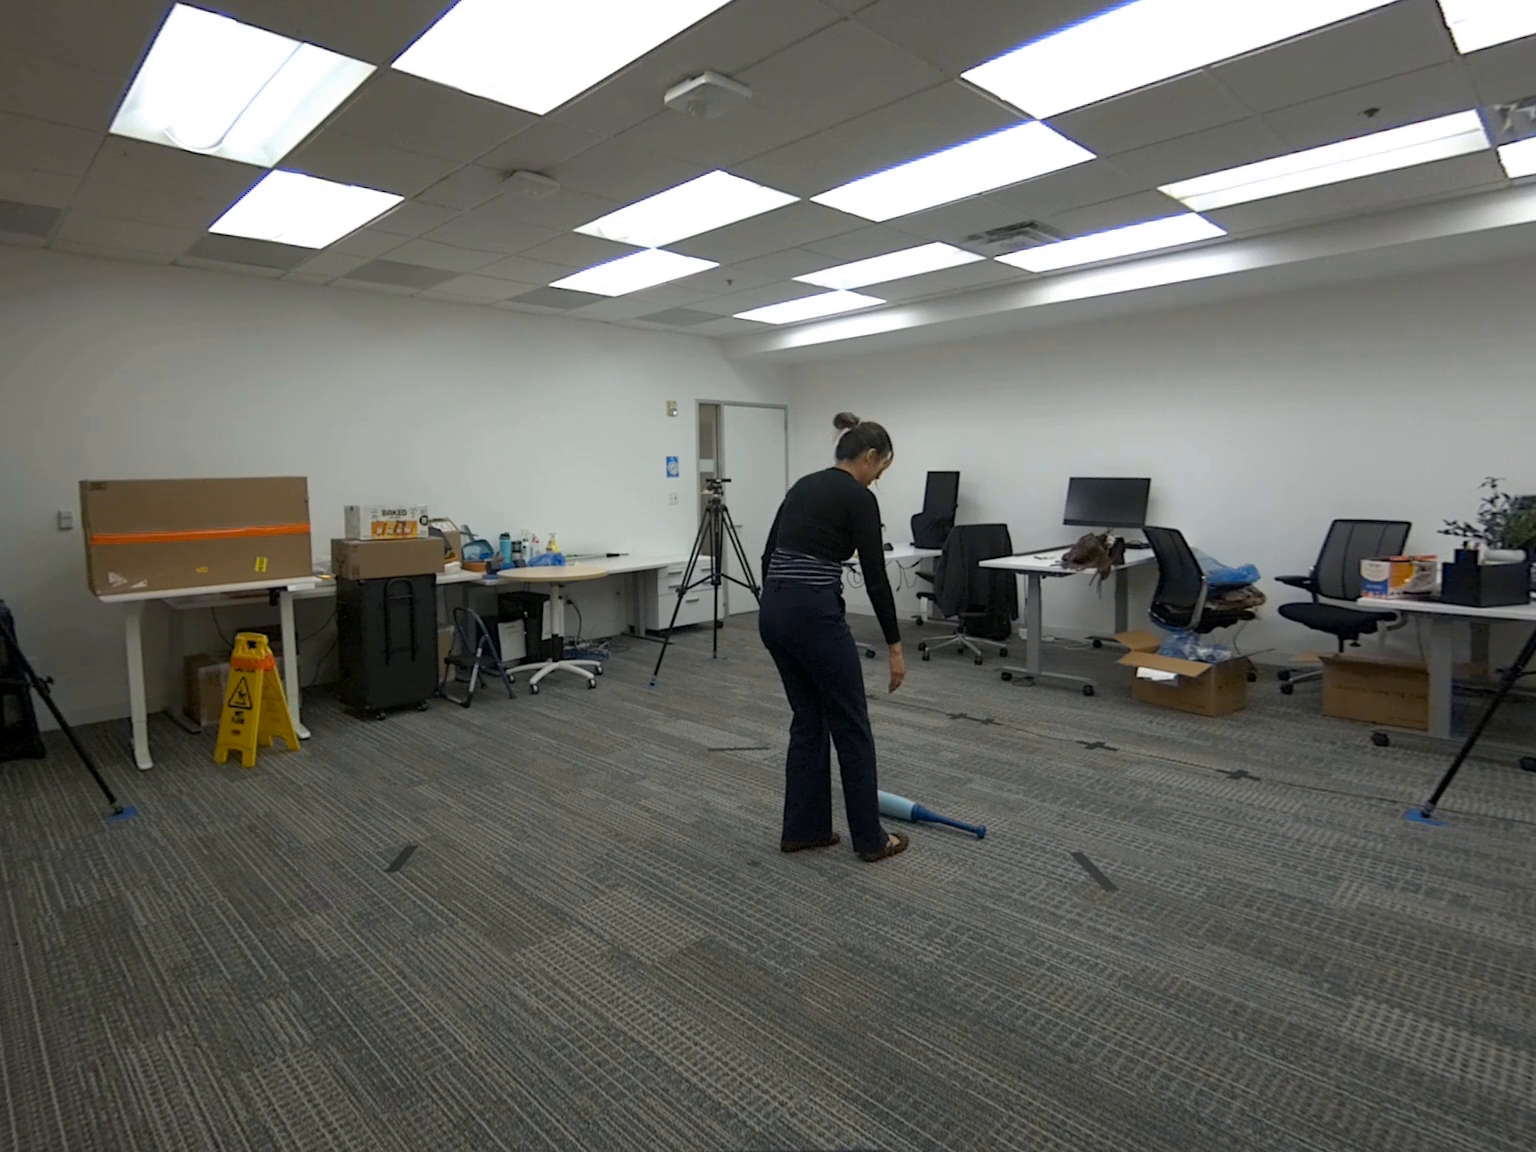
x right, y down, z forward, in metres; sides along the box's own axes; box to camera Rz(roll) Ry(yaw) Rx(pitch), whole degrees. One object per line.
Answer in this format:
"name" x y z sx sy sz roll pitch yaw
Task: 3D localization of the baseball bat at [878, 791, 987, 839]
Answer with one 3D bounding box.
"baseball bat" 0.616 0.957 3.448 0.560 0.088 0.087 7 8 37
